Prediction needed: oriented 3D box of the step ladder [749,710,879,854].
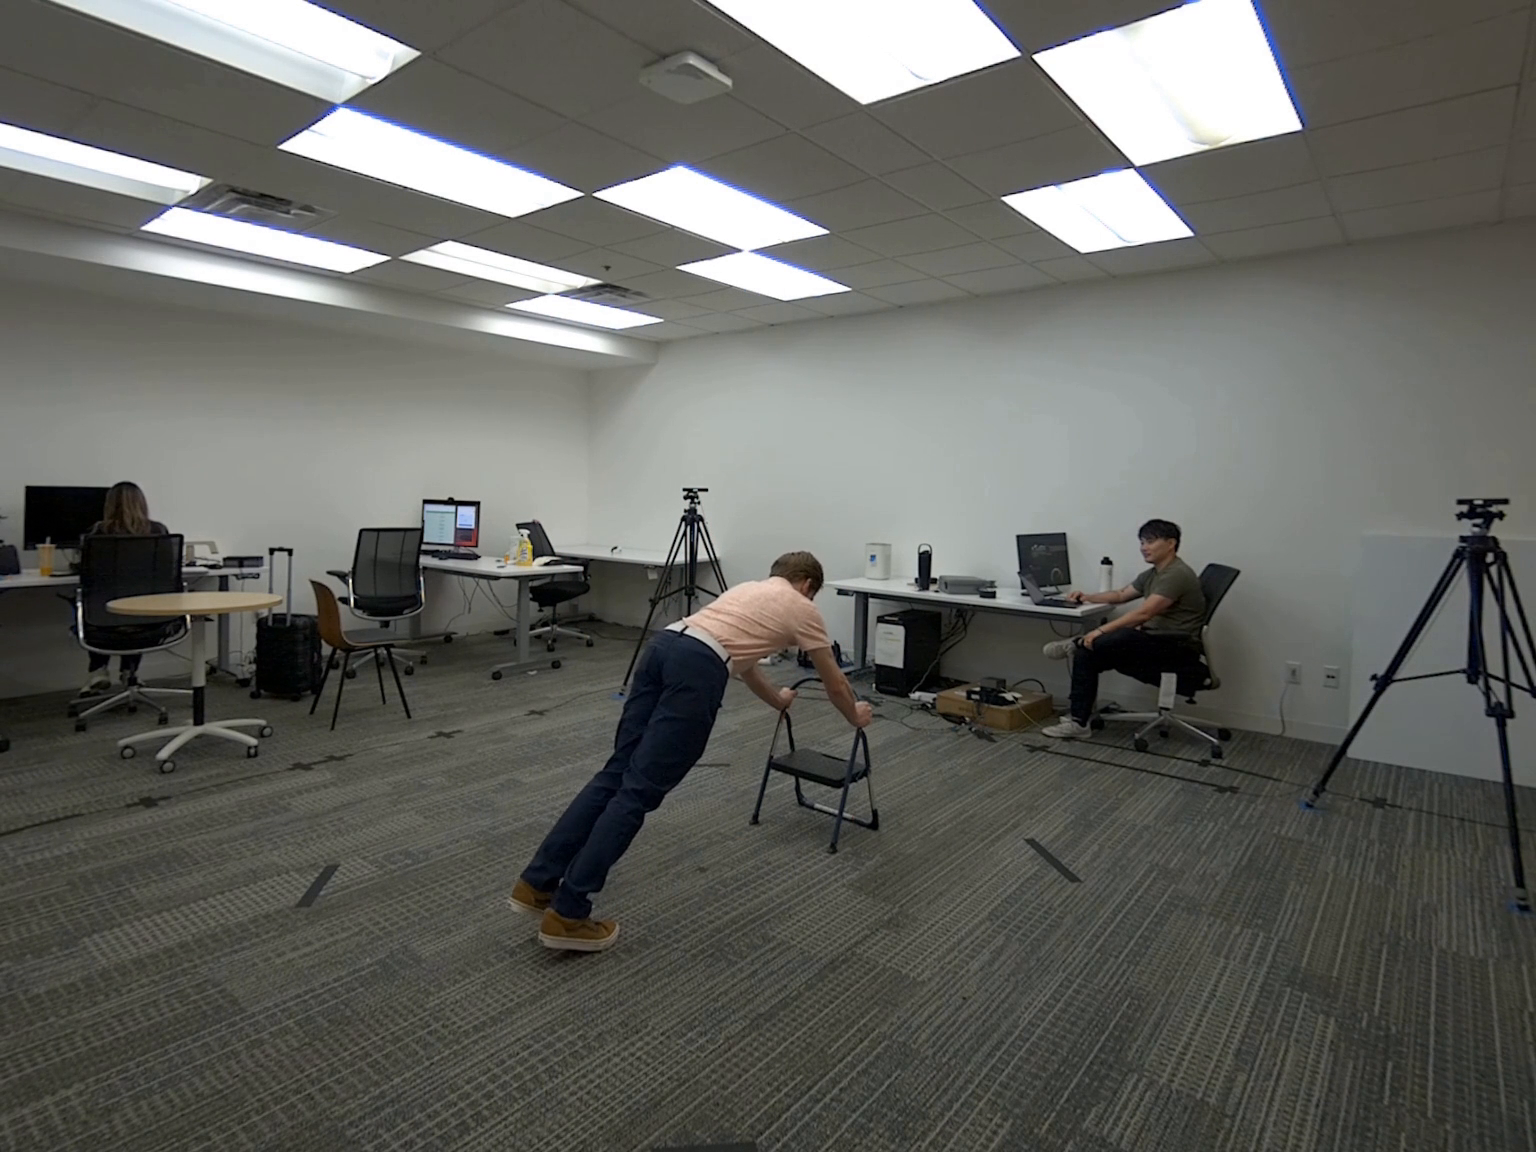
[{"bbox_3d":[0.193,0.738,3.521,0.445,0.604,0.339,5,5,40],"label":"step ladder"}]
